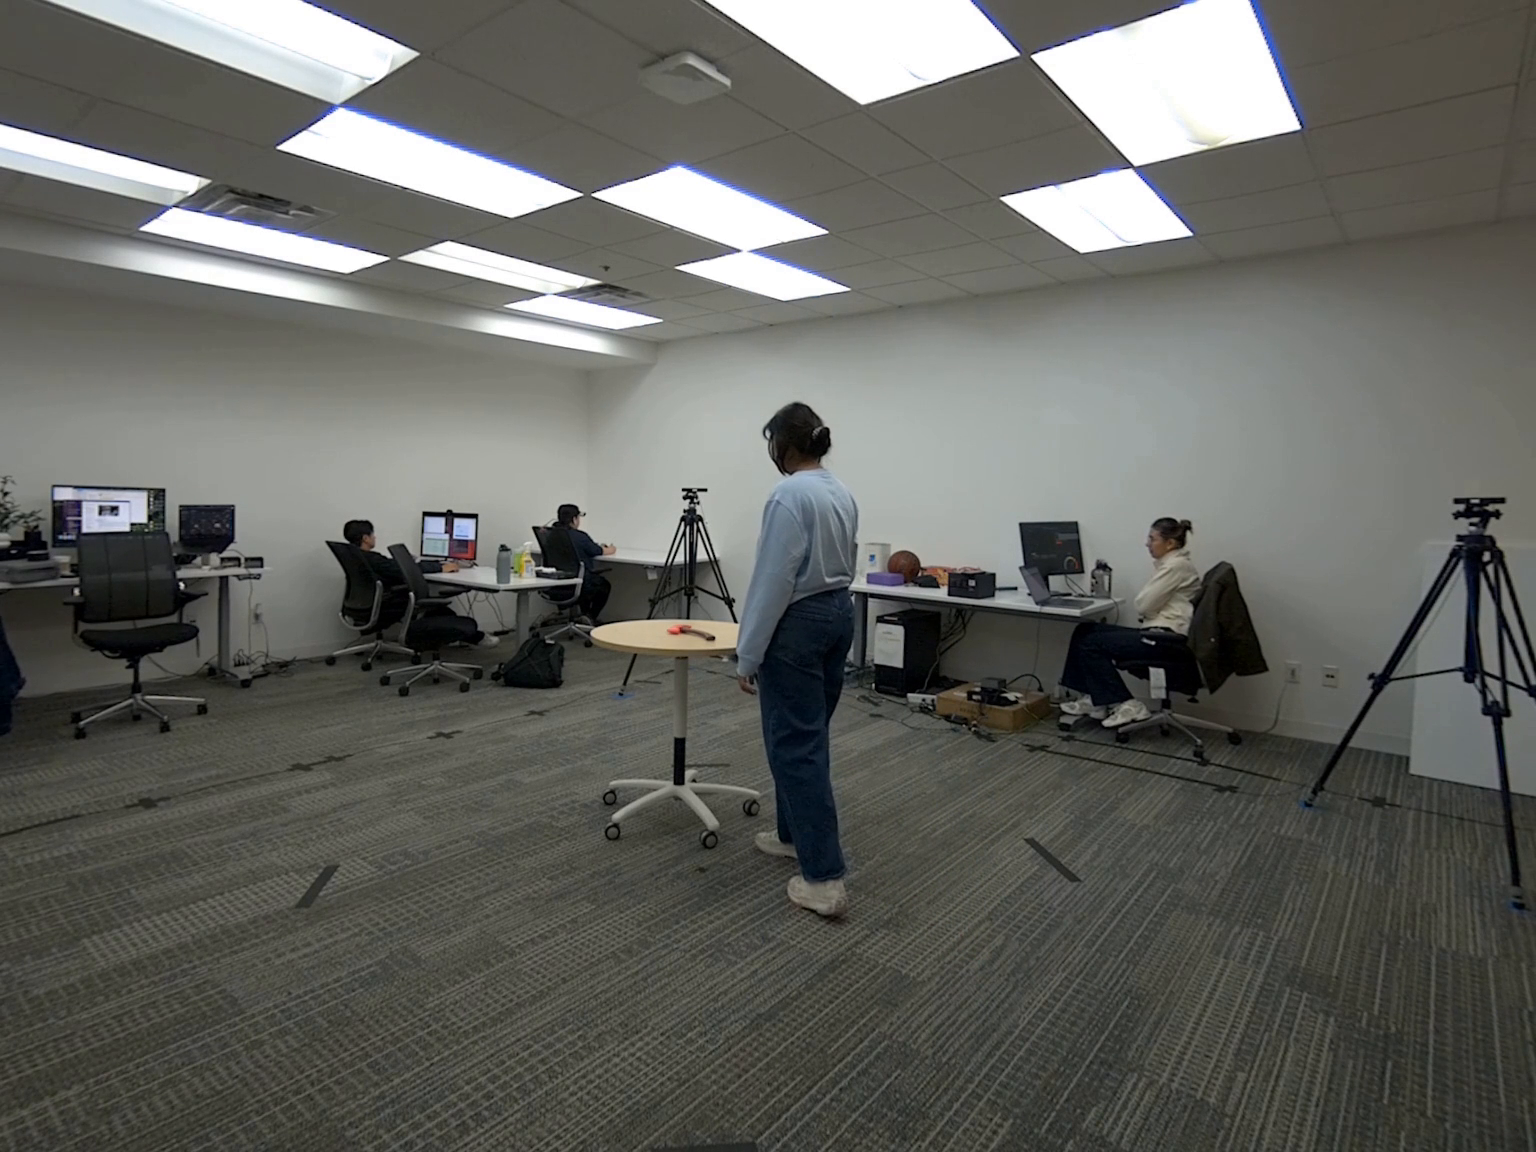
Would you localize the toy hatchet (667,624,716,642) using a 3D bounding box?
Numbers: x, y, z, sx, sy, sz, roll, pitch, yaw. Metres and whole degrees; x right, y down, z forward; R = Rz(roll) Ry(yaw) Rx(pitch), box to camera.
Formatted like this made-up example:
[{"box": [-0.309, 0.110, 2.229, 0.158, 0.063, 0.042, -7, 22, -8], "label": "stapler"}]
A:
[{"box": [-0.339, 0.232, 3.507, 0.128, 0.029, 0.278, -1, 6, -26], "label": "toy hatchet"}]
